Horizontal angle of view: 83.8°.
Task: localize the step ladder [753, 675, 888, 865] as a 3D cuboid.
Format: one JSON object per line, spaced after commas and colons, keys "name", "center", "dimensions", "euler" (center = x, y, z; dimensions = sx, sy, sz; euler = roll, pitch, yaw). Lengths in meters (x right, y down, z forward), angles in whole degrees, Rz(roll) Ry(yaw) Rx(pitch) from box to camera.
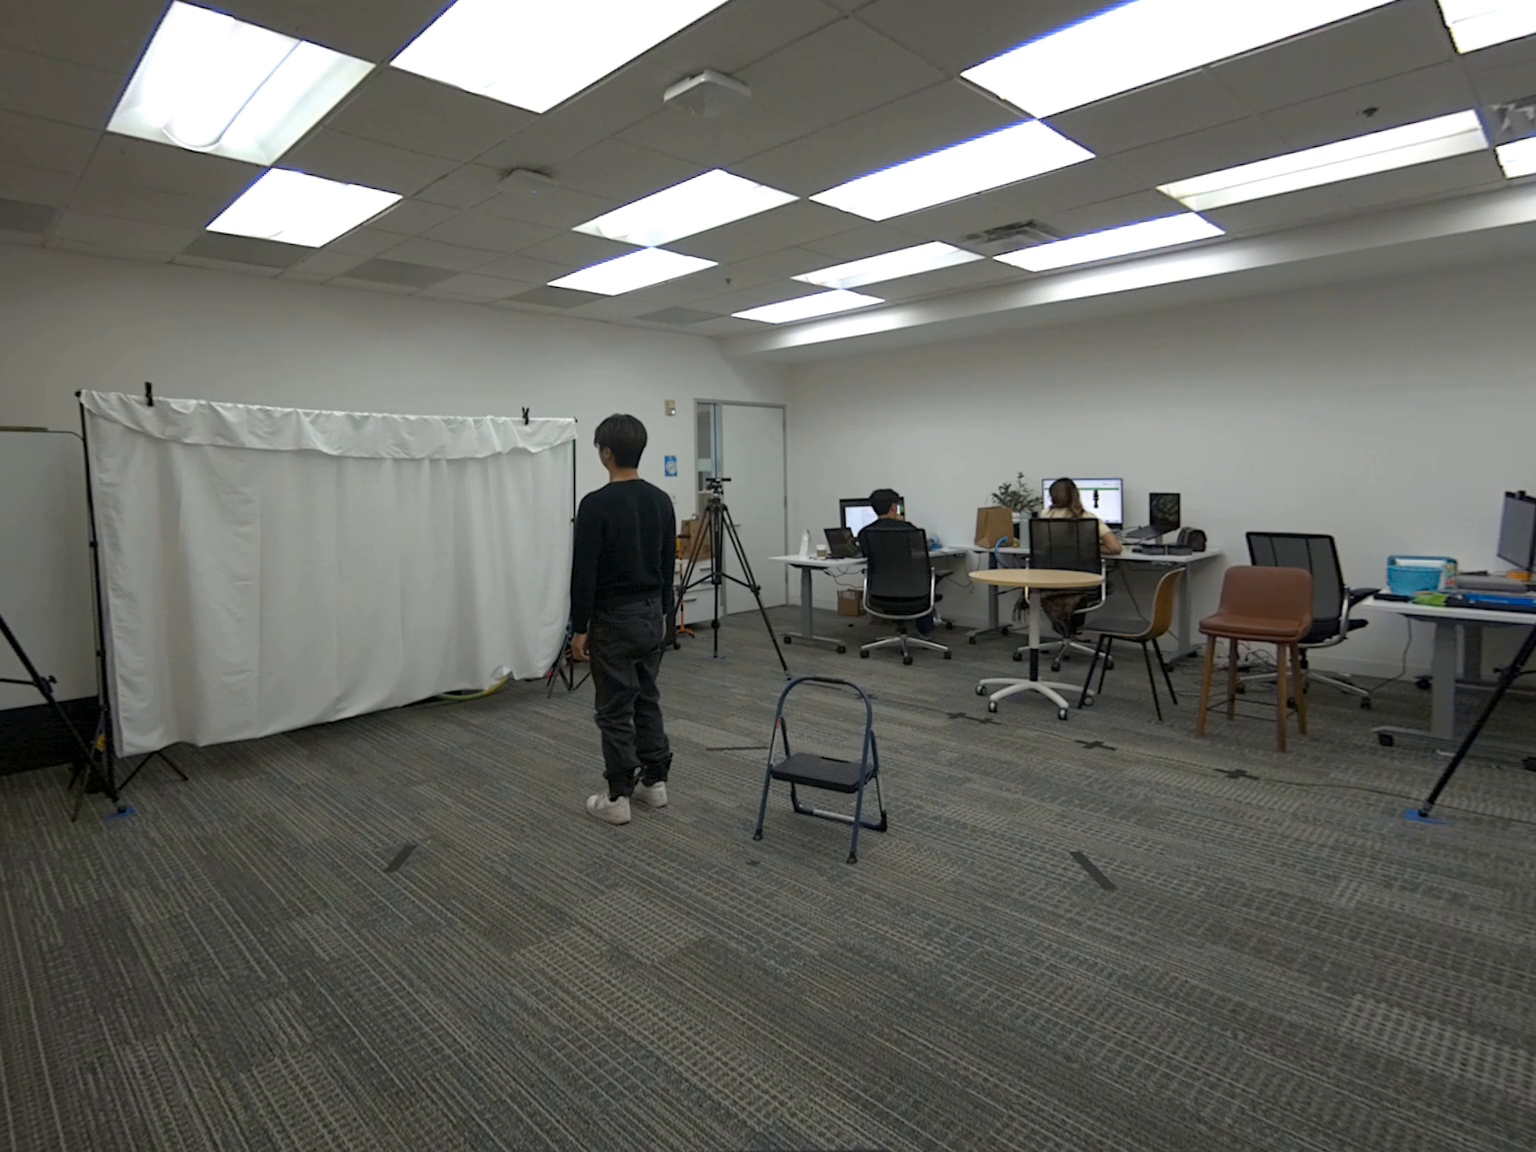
{"name": "step ladder", "center": [0.209, 0.708, 3.319], "dimensions": [0.442, 0.603, 0.341], "euler": [2, 5, 31]}
